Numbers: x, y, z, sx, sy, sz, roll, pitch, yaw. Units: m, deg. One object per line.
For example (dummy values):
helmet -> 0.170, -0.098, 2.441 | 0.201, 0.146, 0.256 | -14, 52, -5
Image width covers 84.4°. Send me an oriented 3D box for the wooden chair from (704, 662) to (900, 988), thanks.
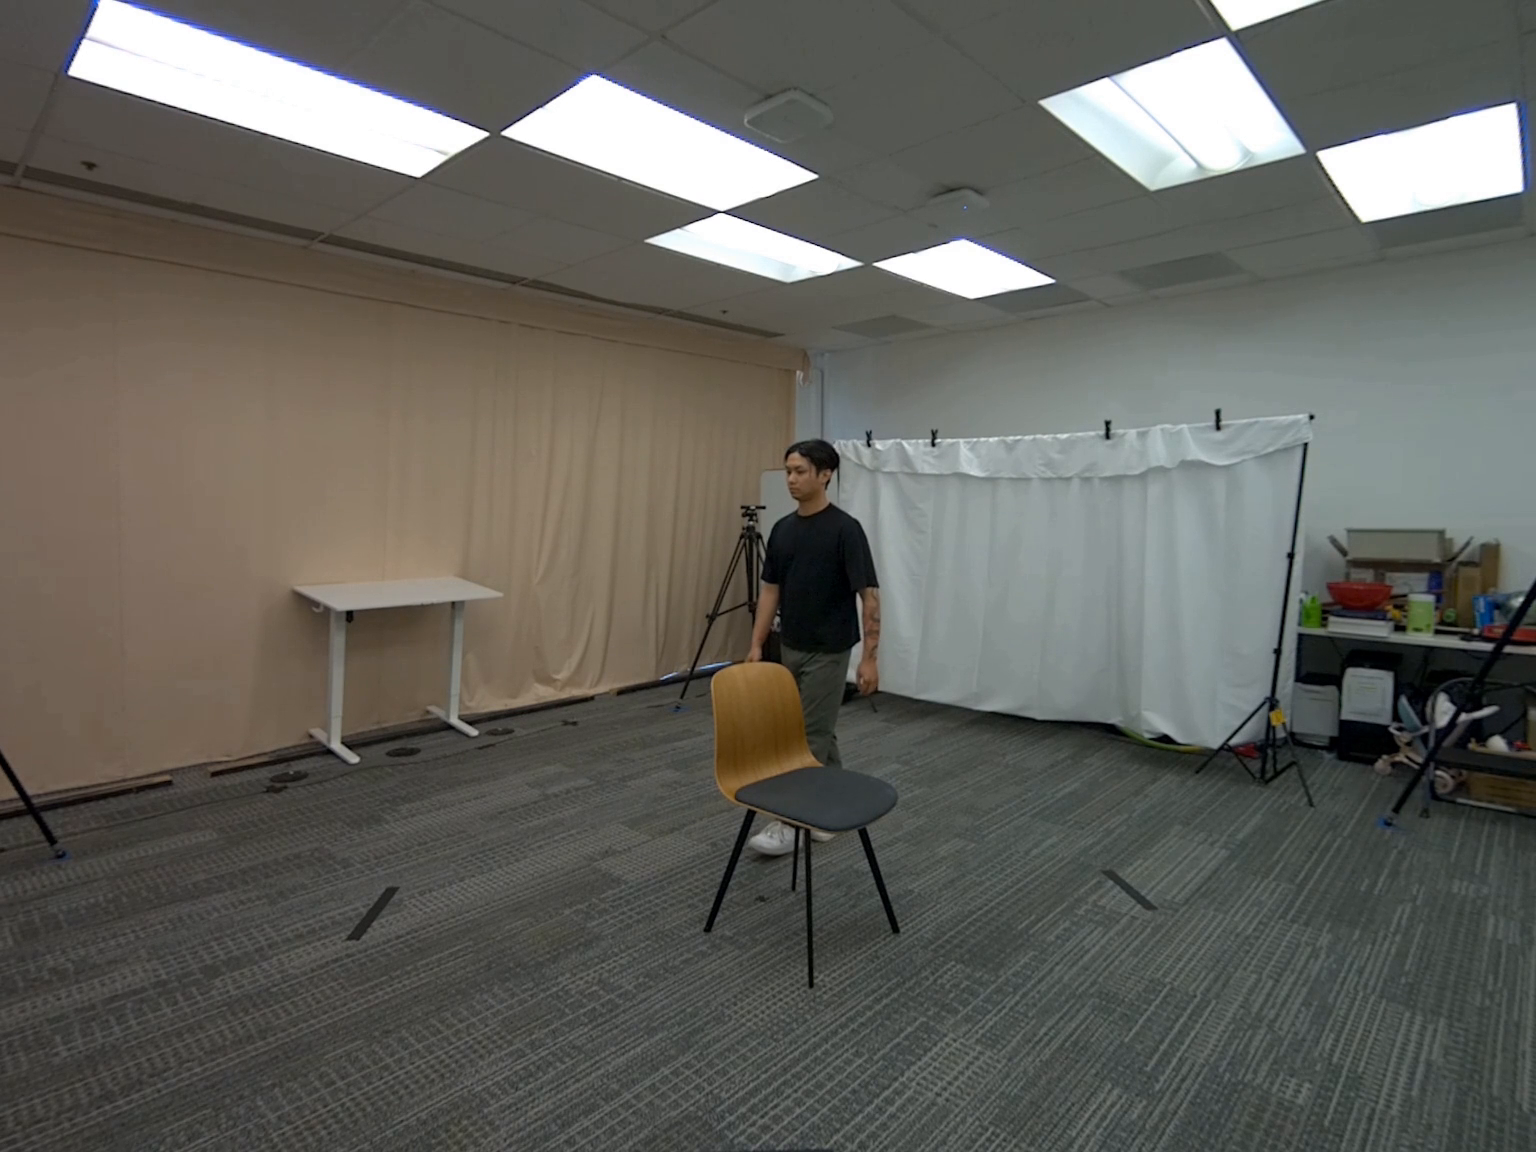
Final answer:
wooden chair -> 0.116, 0.743, 2.701 | 0.540, 0.877, 0.463 | -2, 1, 44
